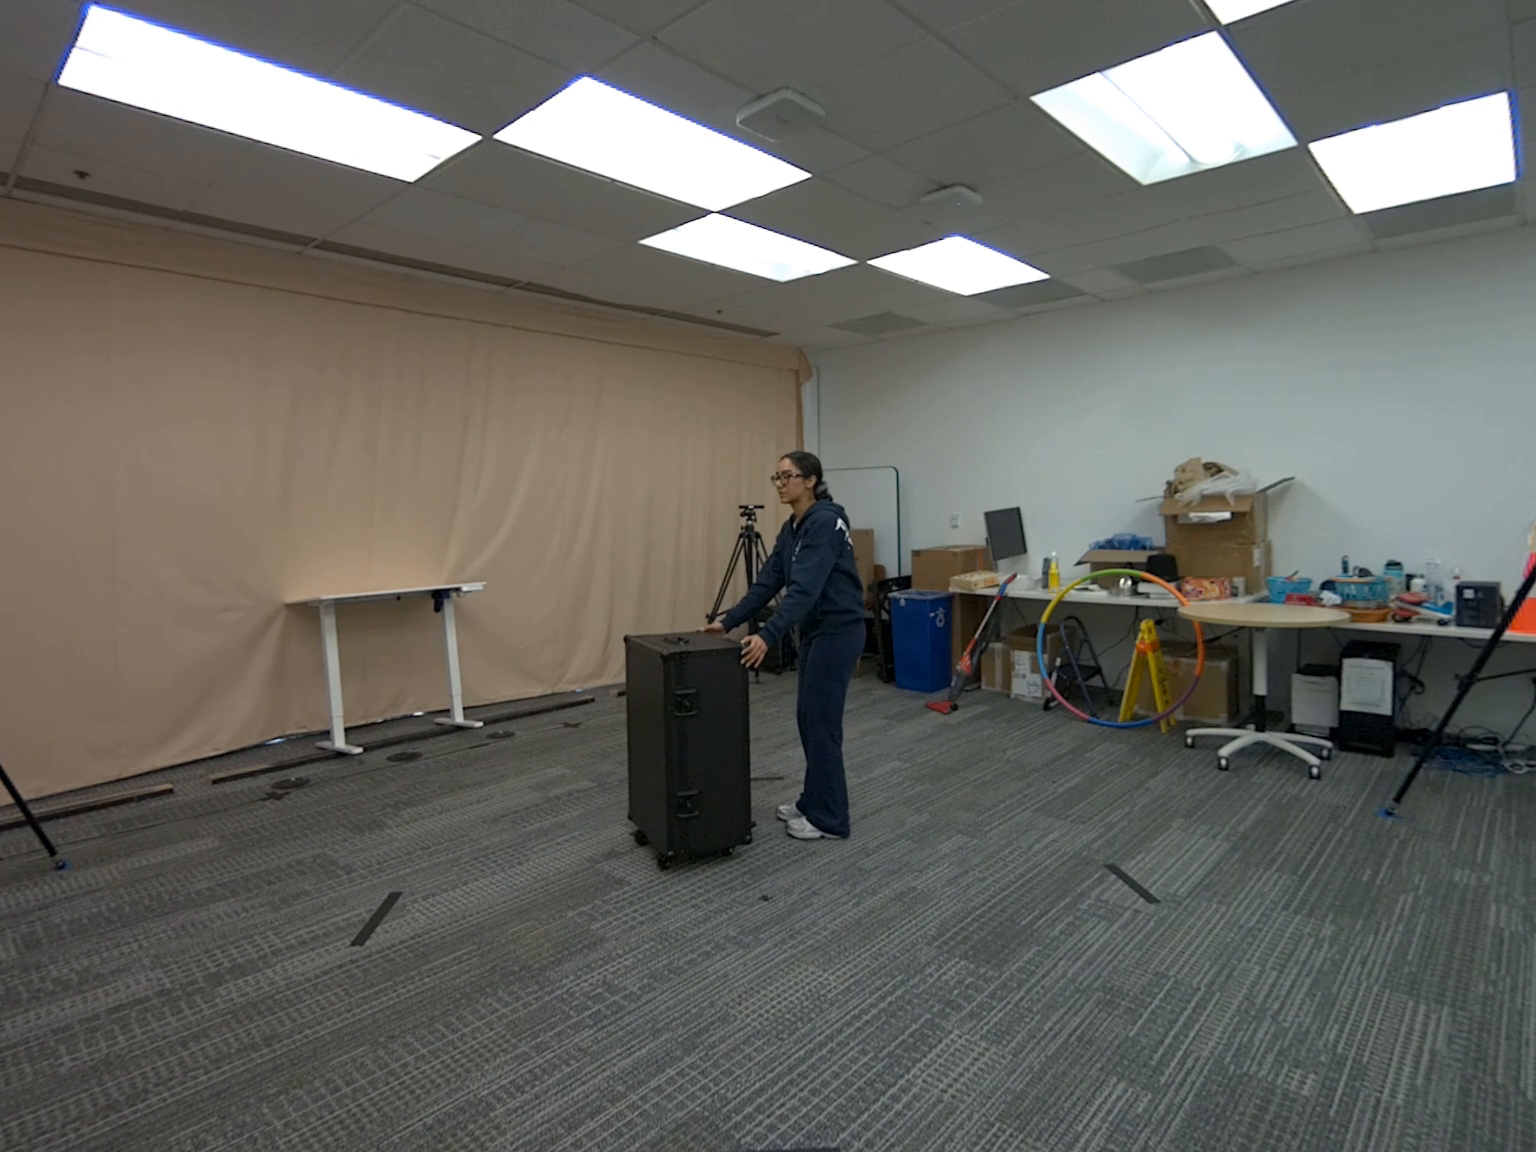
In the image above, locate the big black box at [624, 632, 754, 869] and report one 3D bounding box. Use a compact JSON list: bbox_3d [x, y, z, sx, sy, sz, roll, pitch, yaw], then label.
[{"bbox_3d":[-0.329,0.686,3.433,0.387,0.861,0.534,-1,2,-26],"label":"big black box"}]
